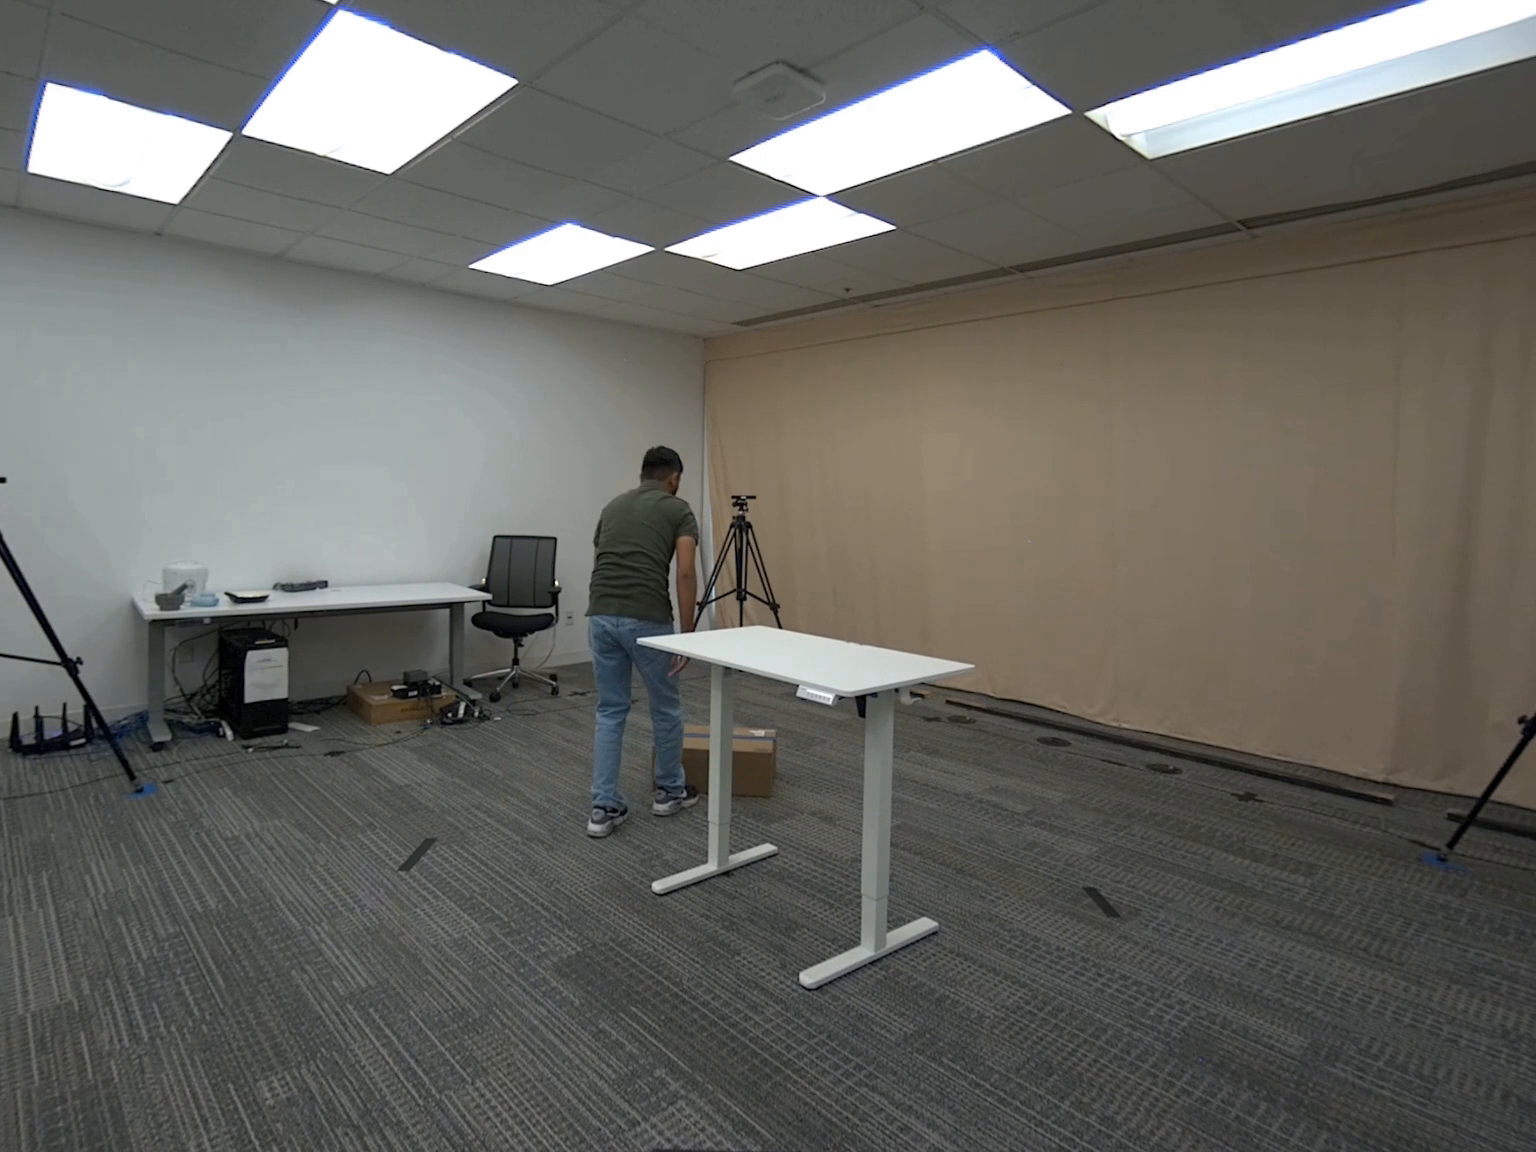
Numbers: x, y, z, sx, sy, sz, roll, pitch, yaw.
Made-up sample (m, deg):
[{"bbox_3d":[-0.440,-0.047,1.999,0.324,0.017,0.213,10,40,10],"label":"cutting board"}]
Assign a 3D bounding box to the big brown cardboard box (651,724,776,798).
[{"bbox_3d":[-0.252,0.891,4.135,0.591,0.232,0.417,1,4,4],"label":"big brown cardboard box"}]
